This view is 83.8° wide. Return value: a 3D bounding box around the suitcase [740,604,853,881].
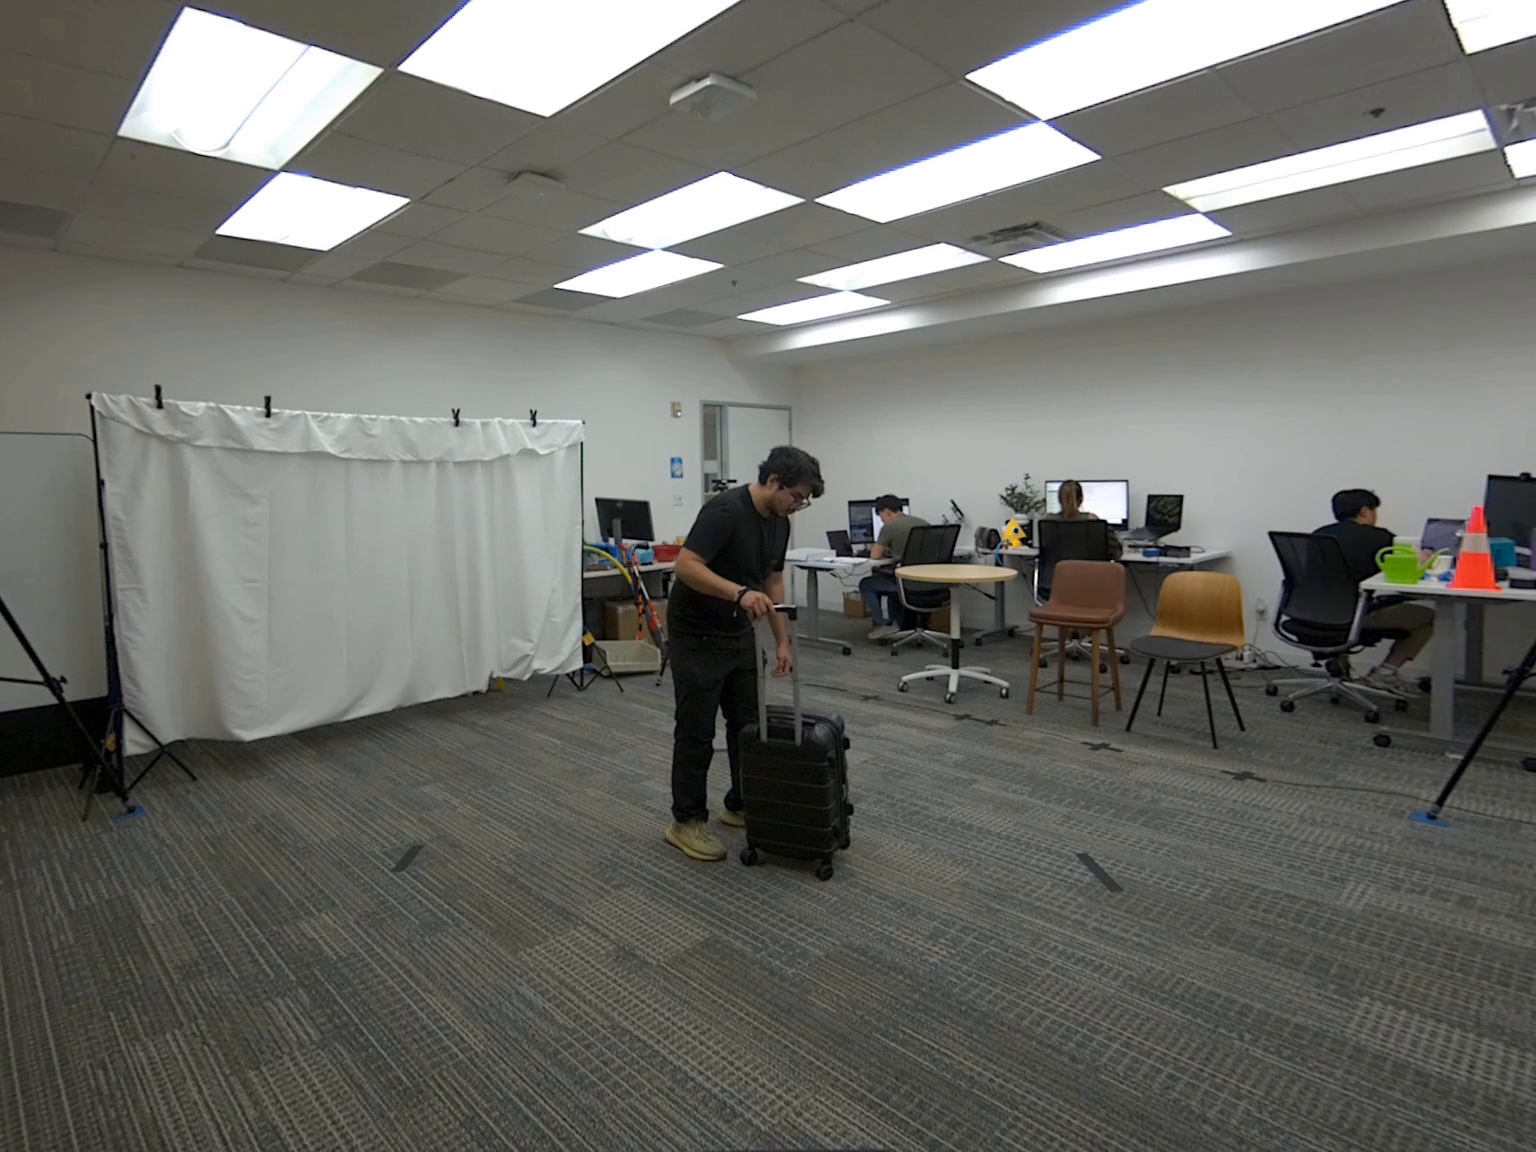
[{"bbox_3d":[0.092,0.560,3.064,0.392,0.970,0.254,1,9,23],"label":"suitcase"}]
